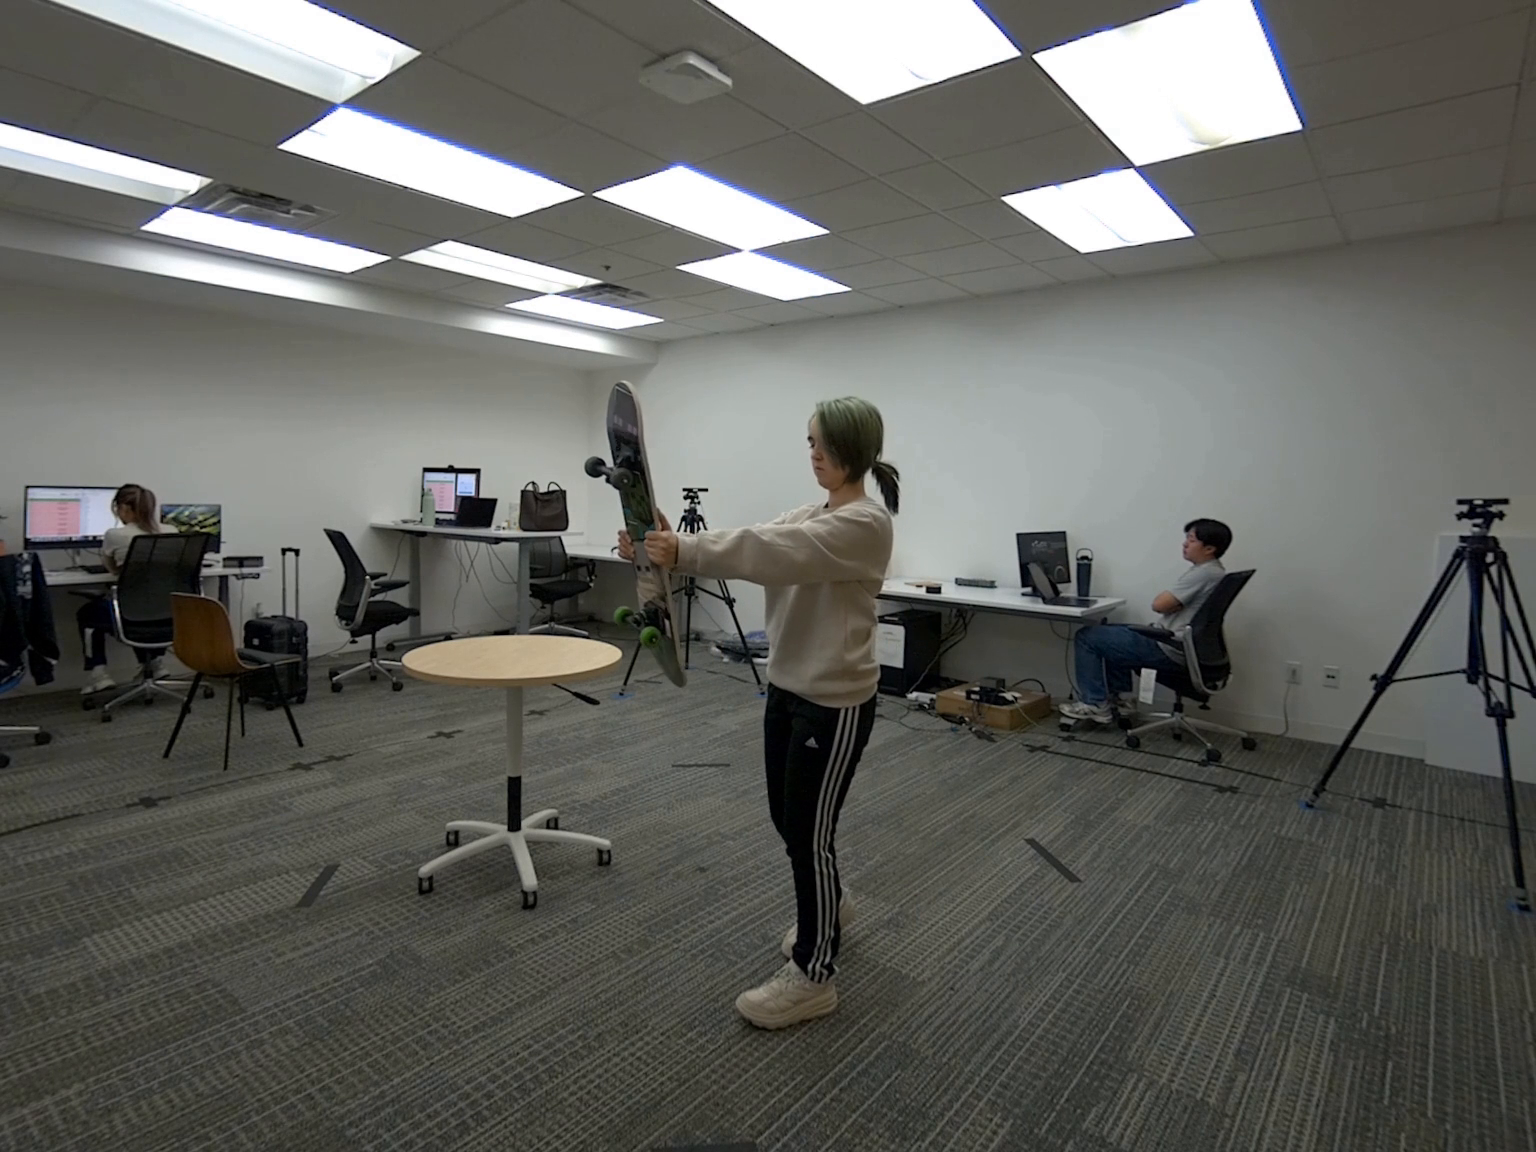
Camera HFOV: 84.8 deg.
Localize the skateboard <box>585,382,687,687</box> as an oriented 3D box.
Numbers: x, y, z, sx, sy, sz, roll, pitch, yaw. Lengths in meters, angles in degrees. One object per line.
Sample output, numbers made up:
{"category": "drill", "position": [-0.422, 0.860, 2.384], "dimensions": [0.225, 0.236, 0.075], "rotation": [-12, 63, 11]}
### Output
{"category": "skateboard", "position": [-0.329, -0.065, 2.049], "dimensions": [0.108, 0.769, 0.201], "rotation": [-18, 23, -28]}
